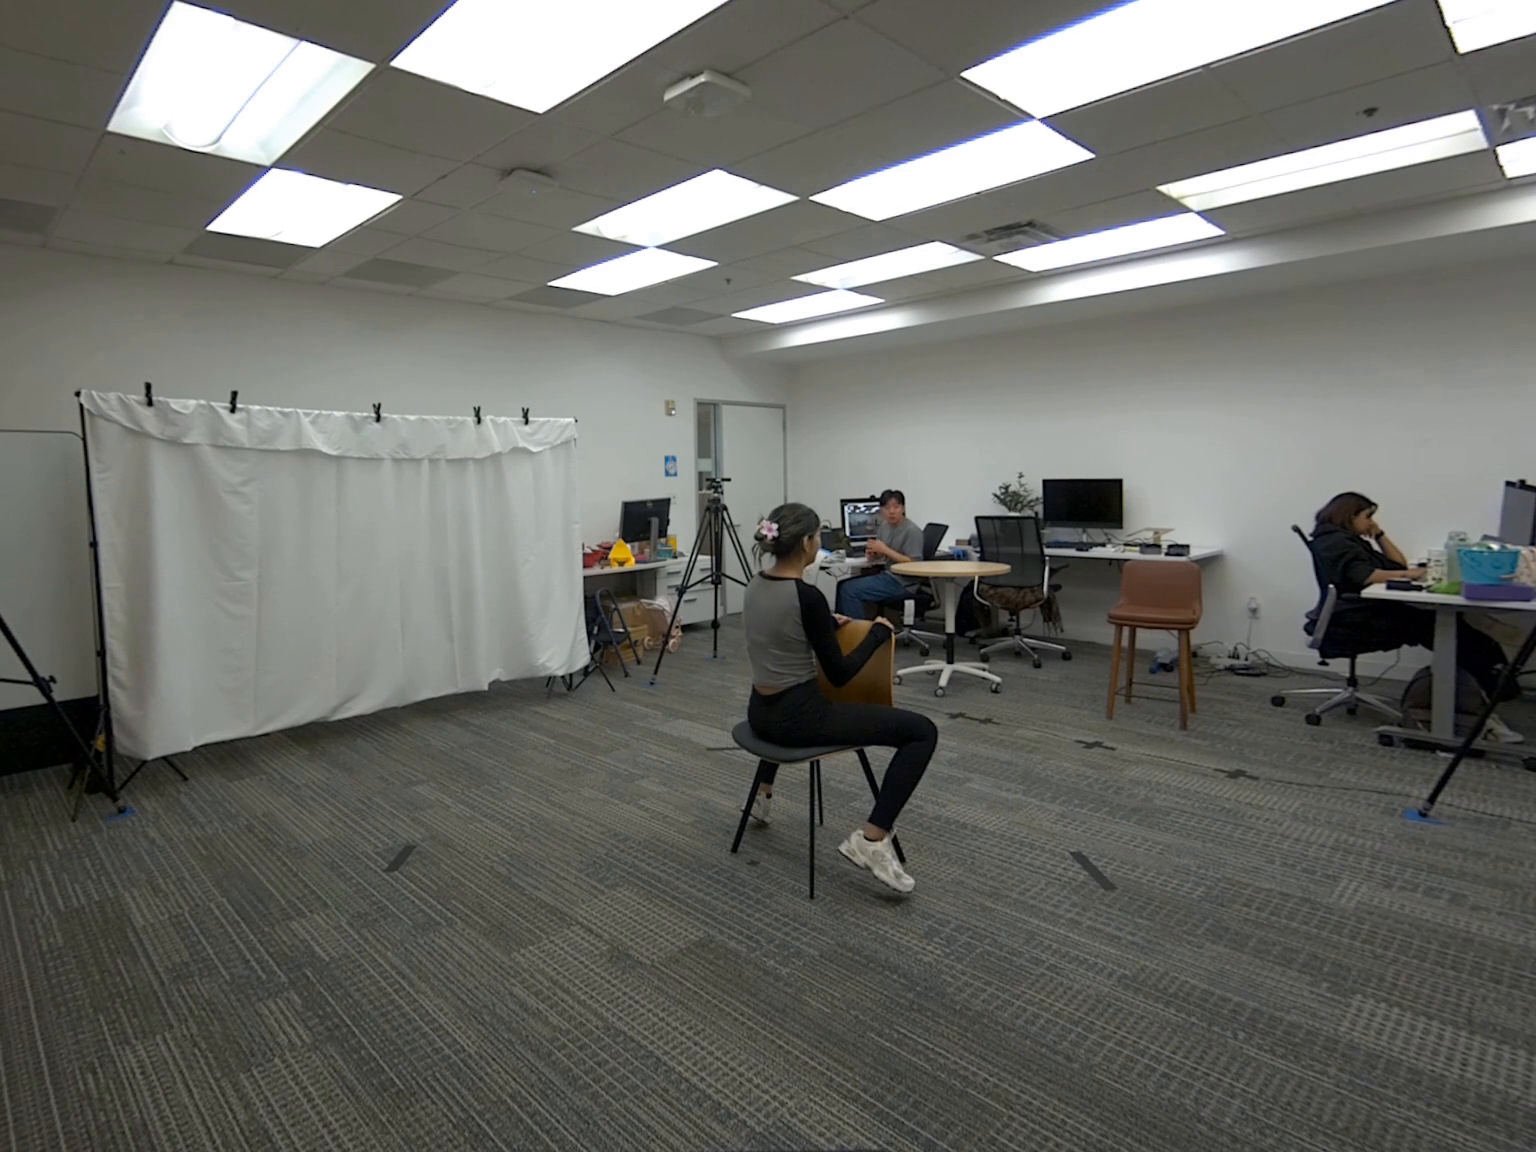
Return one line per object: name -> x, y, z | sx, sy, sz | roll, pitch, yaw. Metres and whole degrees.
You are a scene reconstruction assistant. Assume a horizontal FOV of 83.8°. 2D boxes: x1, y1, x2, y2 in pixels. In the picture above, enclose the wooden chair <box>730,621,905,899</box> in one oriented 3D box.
wooden chair -> 0.169, 0.613, 3.101 | 0.508, 0.877, 0.492 | 2, 1, -37
